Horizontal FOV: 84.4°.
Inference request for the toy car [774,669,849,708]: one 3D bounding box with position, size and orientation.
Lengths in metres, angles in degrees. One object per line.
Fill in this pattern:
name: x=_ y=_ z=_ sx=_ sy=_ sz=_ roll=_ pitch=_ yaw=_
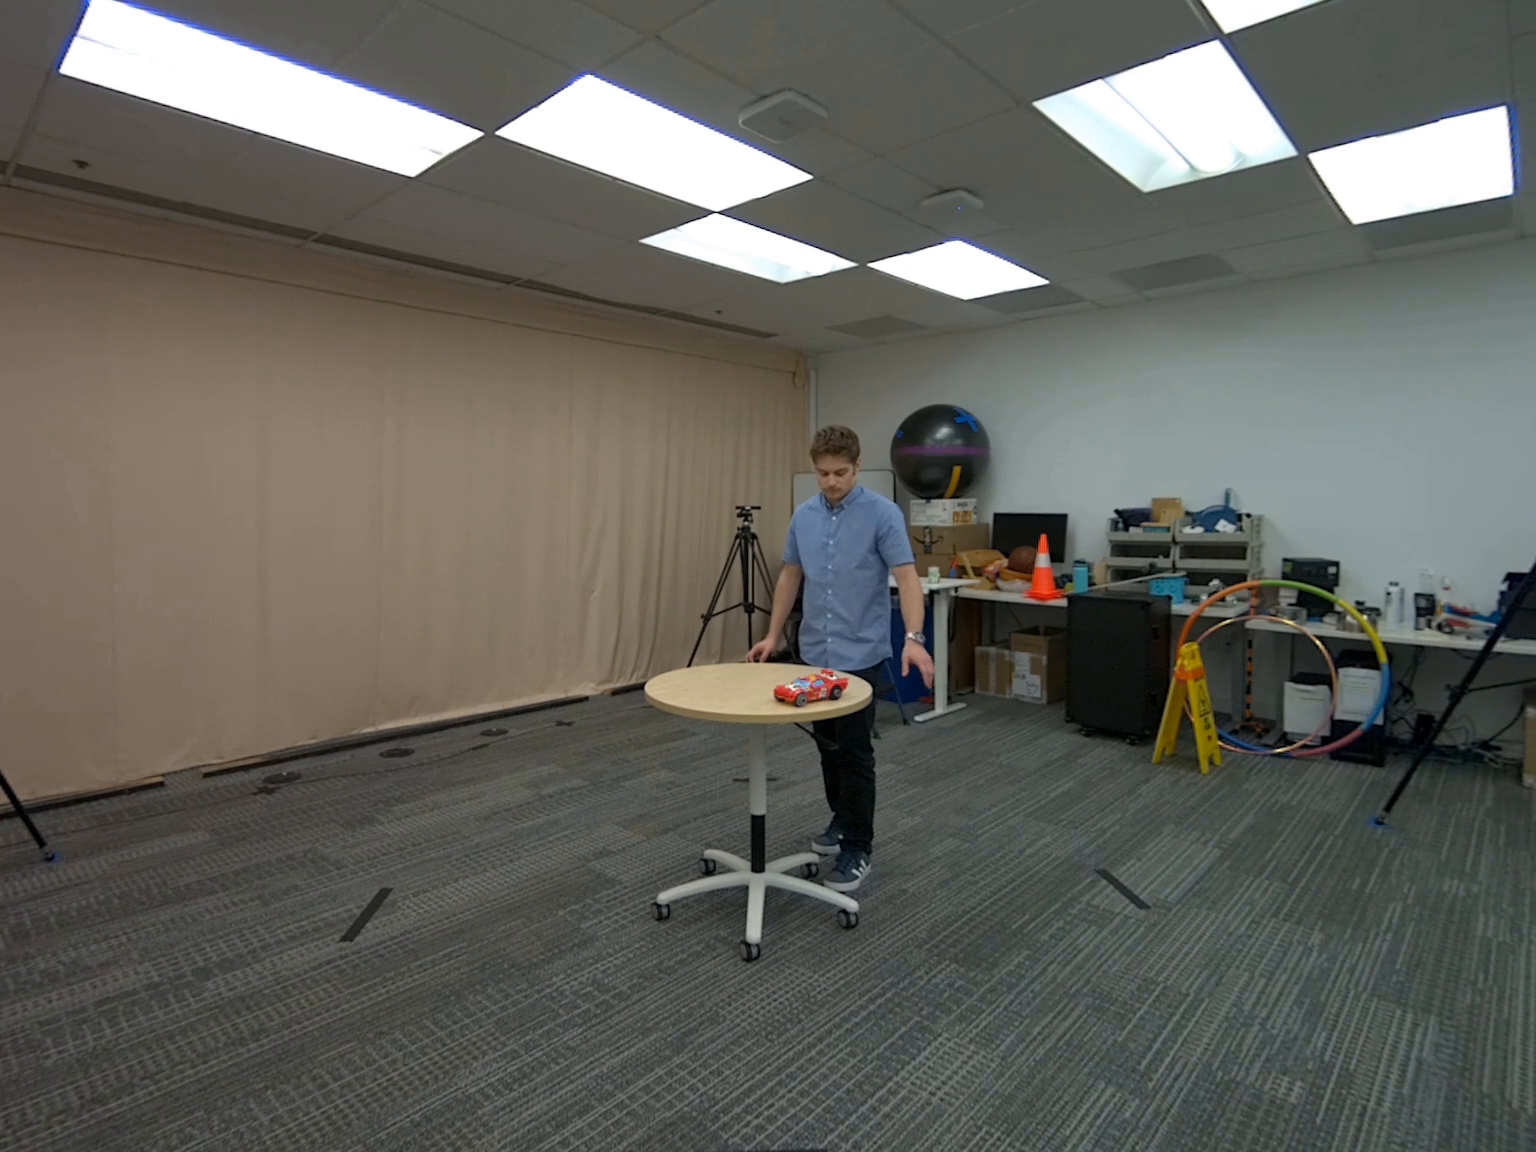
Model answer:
toy car: x=0.142 y=0.358 z=2.658 sx=0.248 sy=0.082 sz=0.134 roll=-17 pitch=14 yaw=-34
